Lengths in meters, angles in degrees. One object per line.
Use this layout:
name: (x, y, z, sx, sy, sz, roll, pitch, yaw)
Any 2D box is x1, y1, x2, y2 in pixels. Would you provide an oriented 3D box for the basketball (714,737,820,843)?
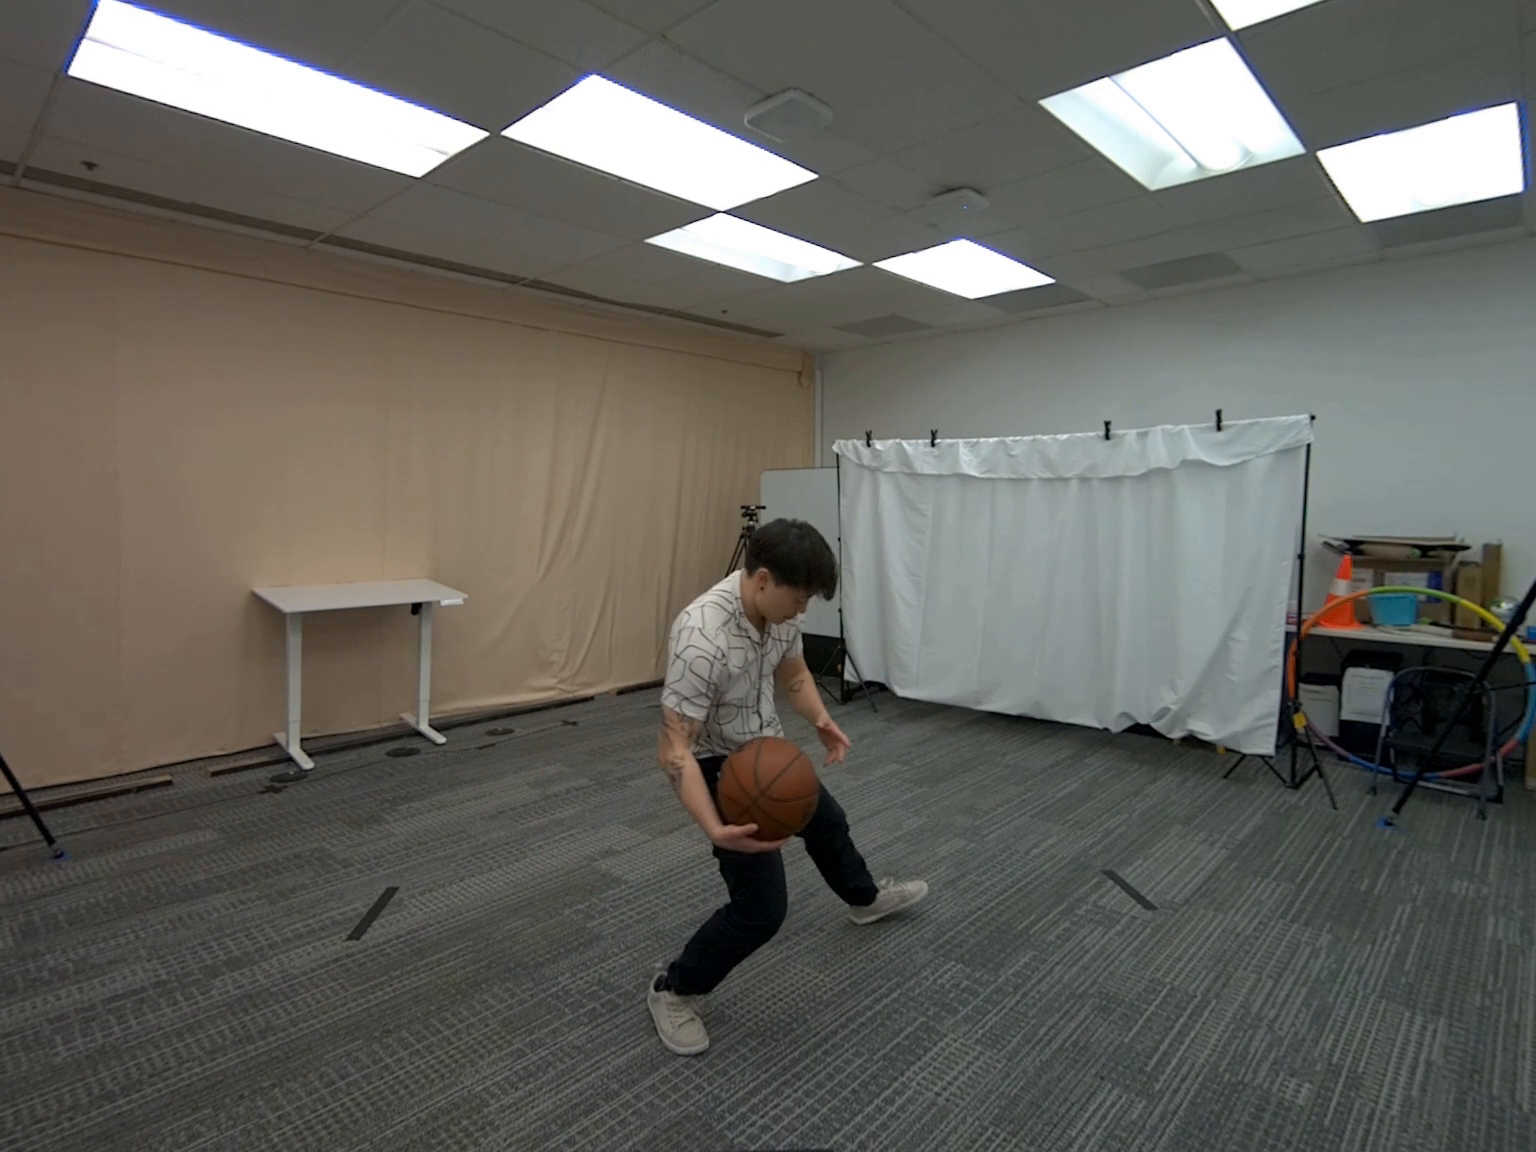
basketball: (0.003, 0.500, 1.991, 0.236, 0.235, 0.237, 0, 4, -2)
